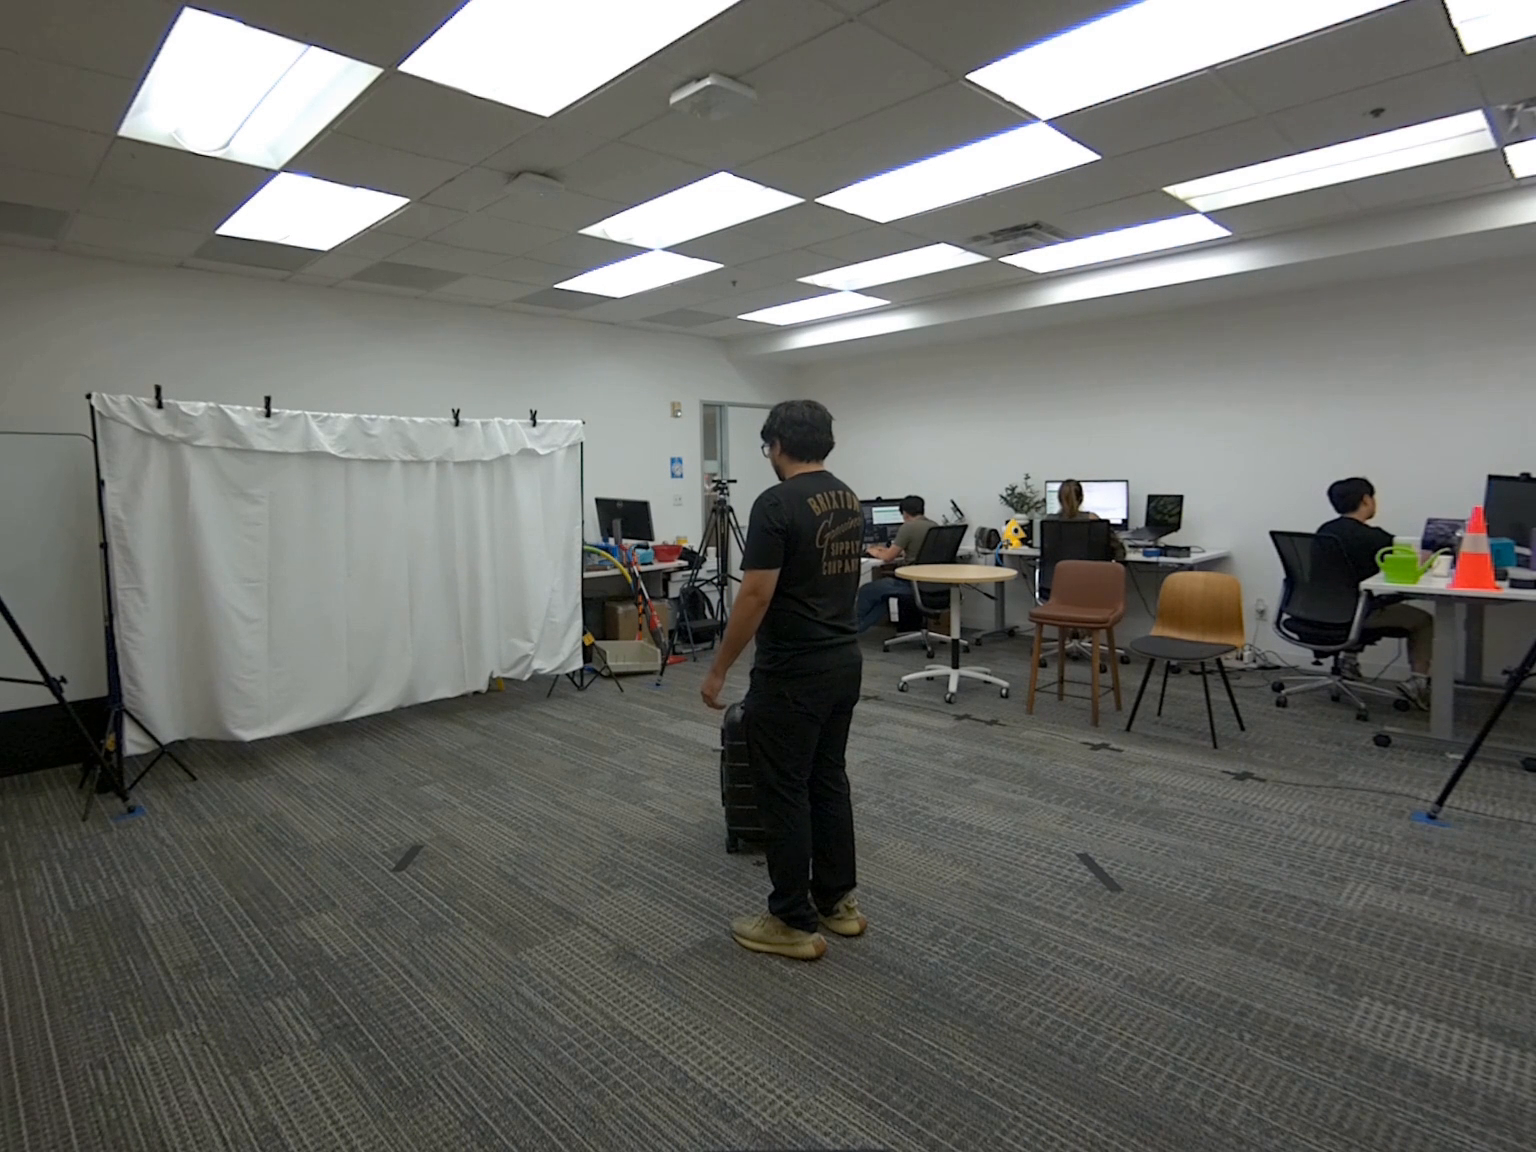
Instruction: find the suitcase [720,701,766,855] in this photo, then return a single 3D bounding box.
[{"bbox_3d":[0.013,0.553,3.266,0.385,0.978,0.256,-1,1,4],"label":"suitcase"}]
